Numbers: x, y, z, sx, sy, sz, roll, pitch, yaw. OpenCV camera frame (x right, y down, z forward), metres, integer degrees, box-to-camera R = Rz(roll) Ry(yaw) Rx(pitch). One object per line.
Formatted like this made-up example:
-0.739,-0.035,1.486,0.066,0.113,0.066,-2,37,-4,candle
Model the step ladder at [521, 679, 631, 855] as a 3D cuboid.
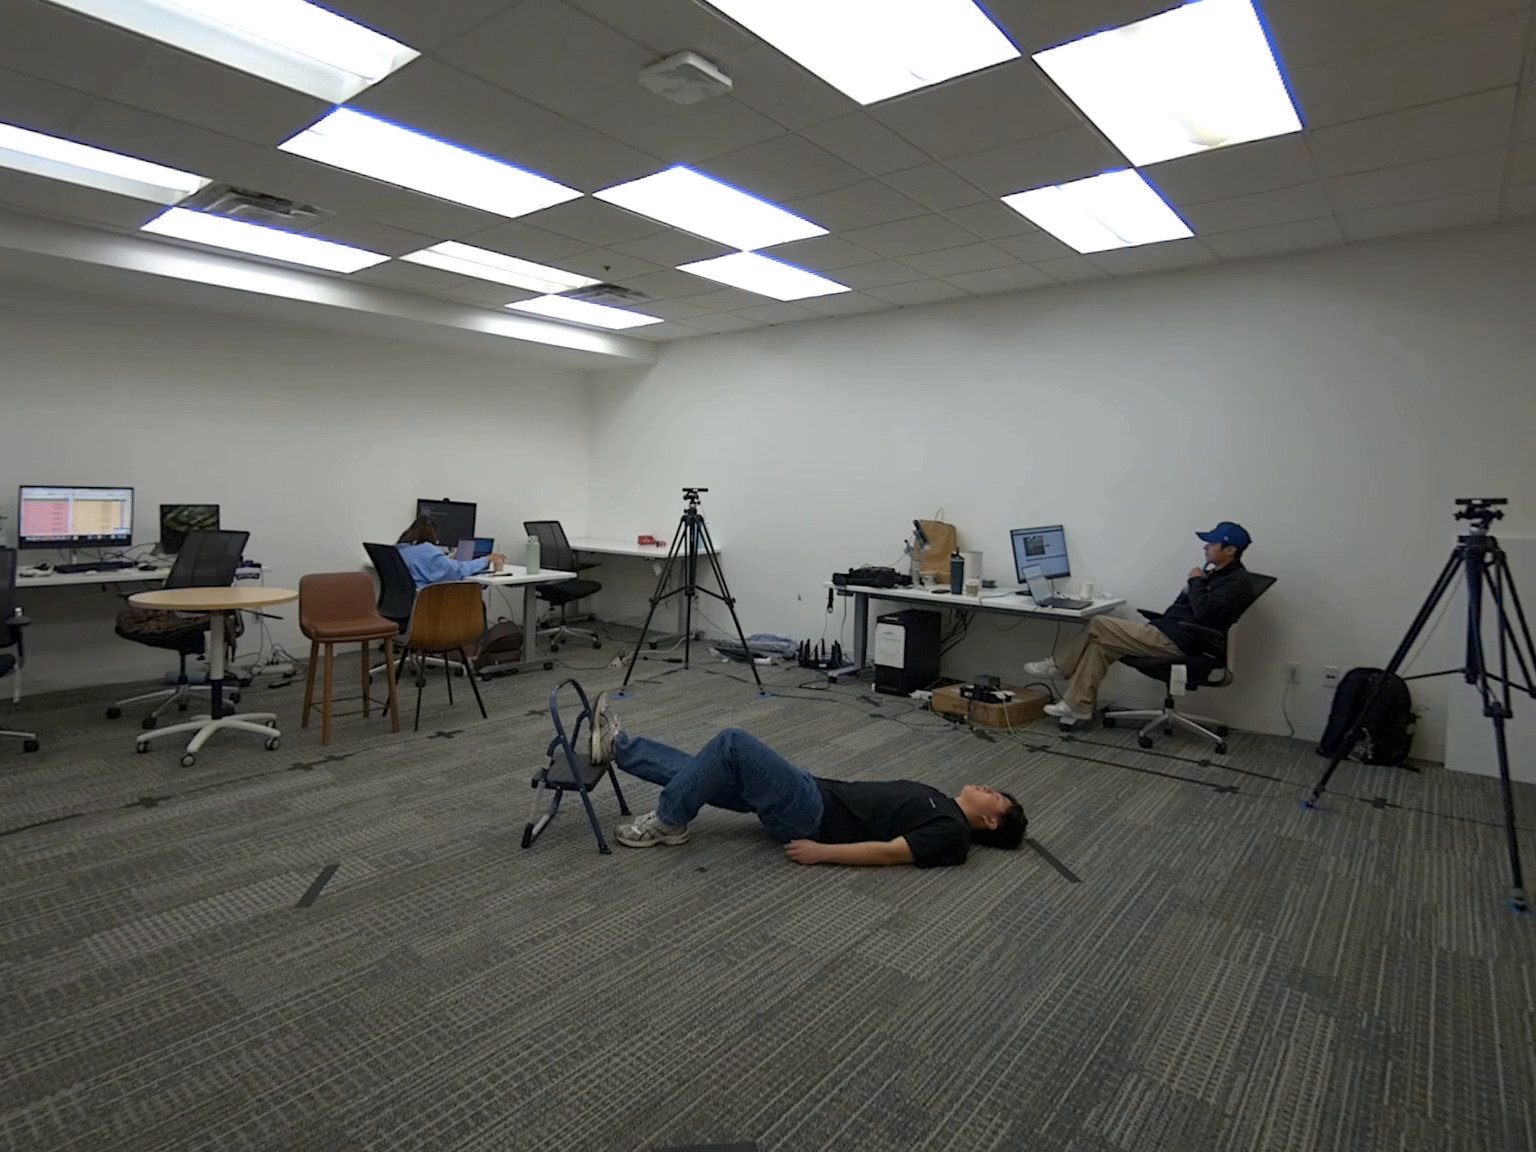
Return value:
-0.774,0.729,3.432,0.351,0.604,0.430,1,3,2,step ladder
